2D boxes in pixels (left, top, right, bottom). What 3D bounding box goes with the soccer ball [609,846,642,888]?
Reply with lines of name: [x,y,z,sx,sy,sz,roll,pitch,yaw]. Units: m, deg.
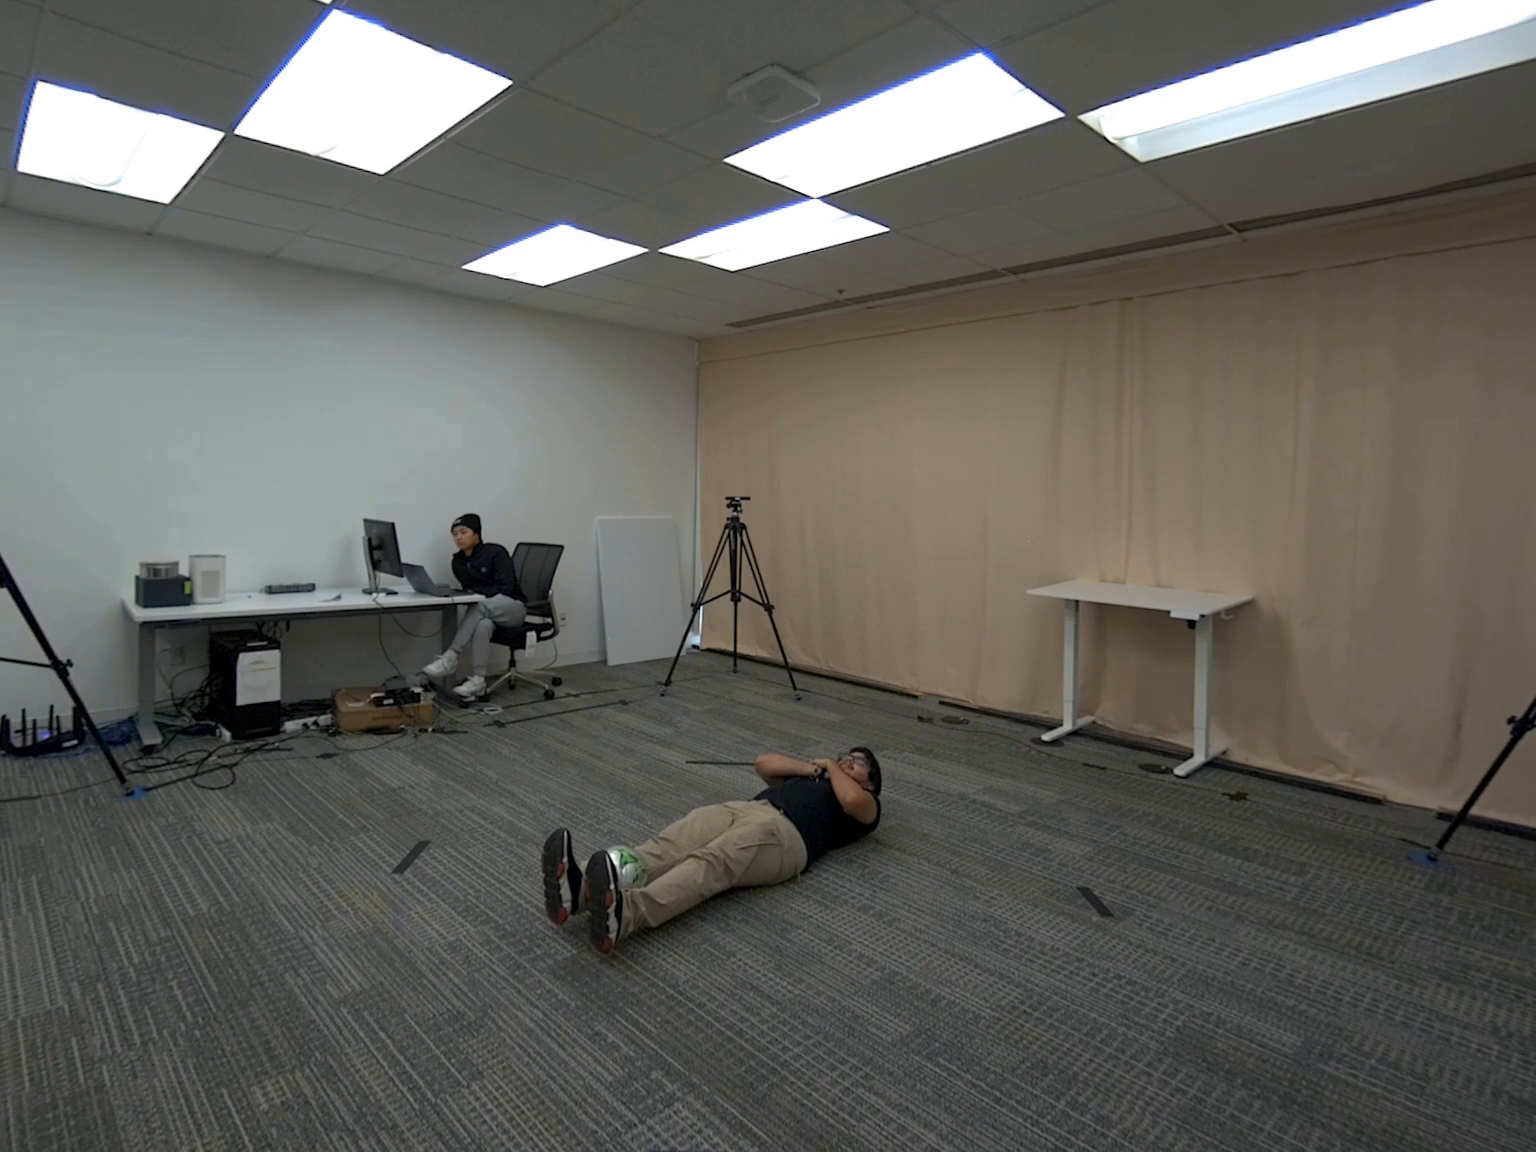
soccer ball: [-0.494,0.973,2.696,0.187,0.187,0.188,1,5,-1]
